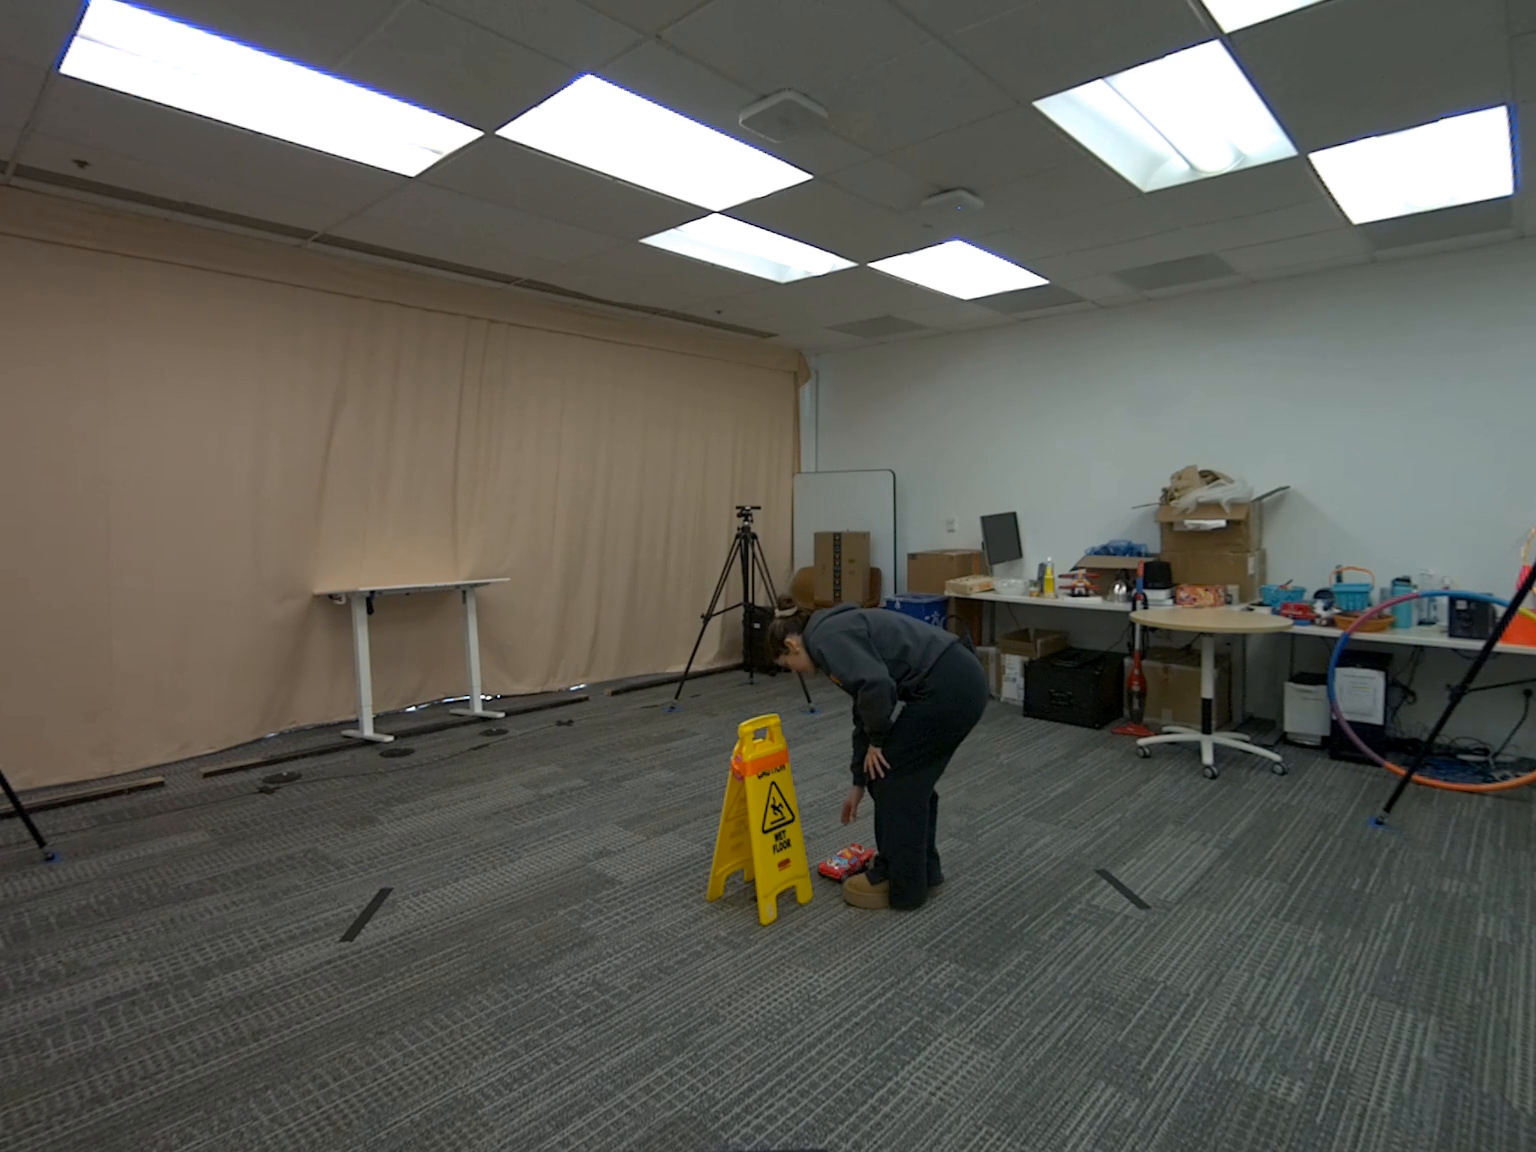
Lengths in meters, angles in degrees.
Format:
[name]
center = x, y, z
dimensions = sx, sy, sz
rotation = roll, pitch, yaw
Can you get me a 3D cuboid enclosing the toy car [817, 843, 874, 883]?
[toy car]
center = 0.329, 1.085, 3.203
dimensions = 0.134, 0.082, 0.248
rotation = 3, 17, 43
